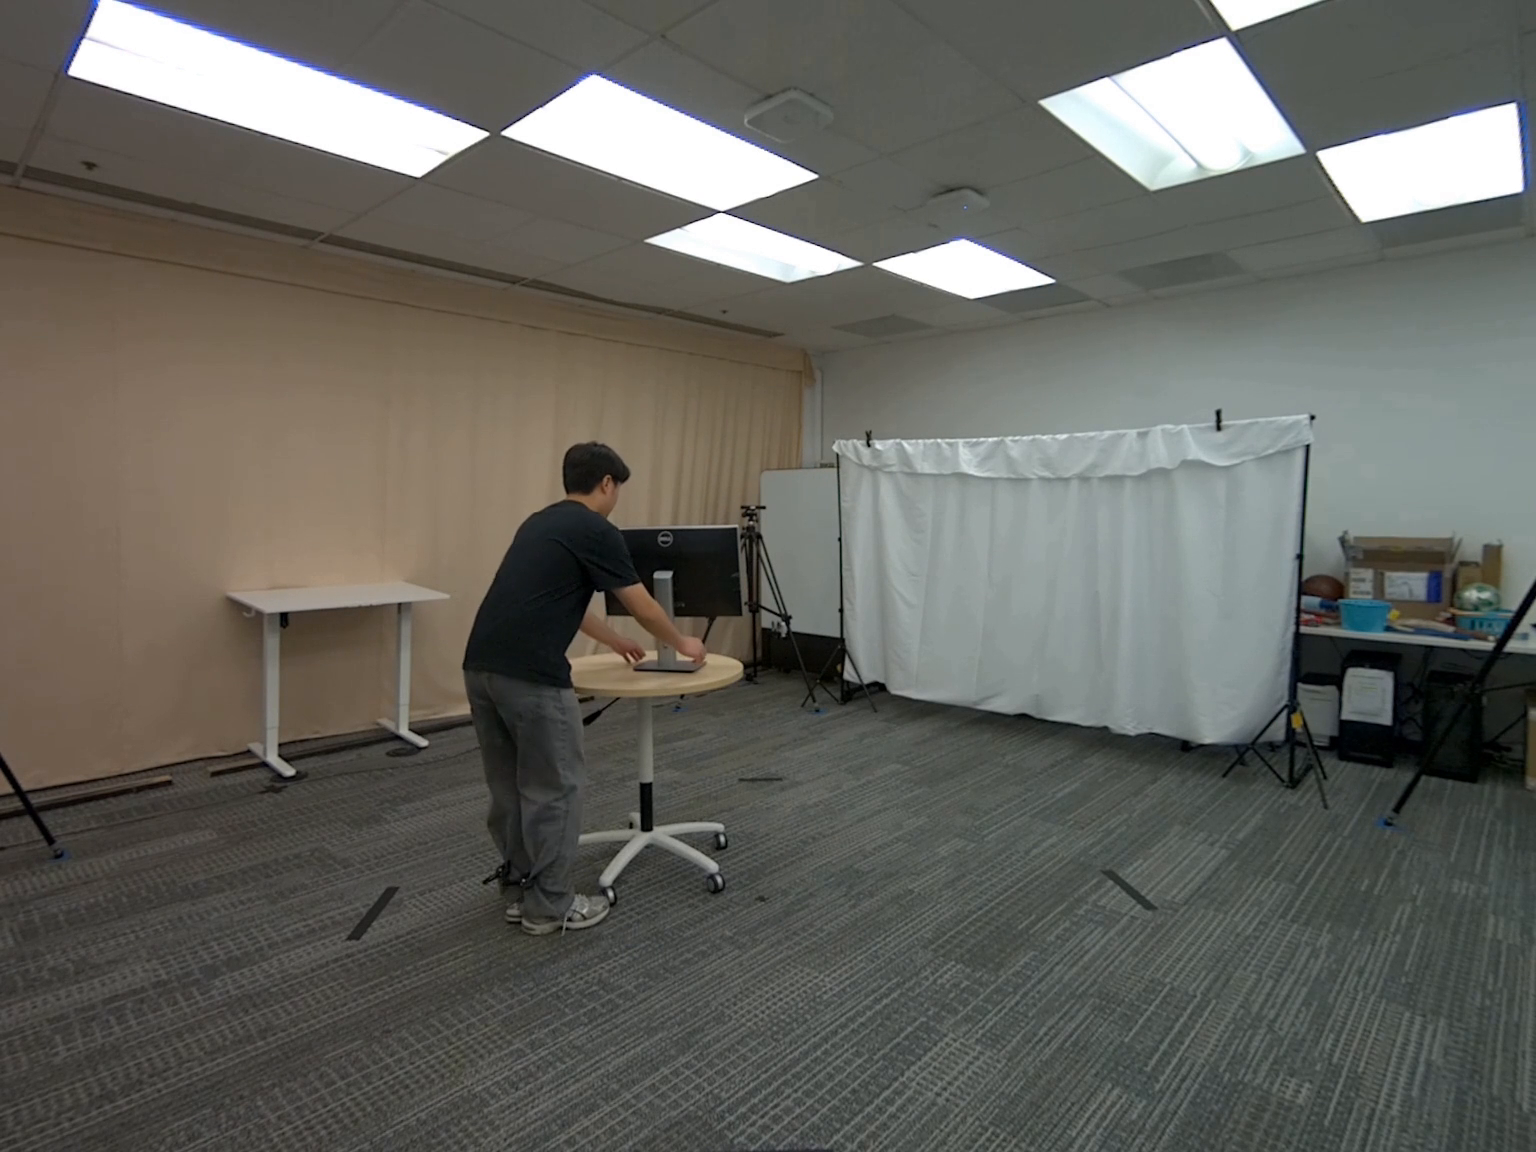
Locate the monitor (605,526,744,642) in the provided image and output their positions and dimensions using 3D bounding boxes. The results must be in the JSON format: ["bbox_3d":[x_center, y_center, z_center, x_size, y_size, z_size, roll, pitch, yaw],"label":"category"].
[{"bbox_3d":[-0.384,0.090,3.234,0.570,0.566,0.219,0,1,14],"label":"monitor"}]
